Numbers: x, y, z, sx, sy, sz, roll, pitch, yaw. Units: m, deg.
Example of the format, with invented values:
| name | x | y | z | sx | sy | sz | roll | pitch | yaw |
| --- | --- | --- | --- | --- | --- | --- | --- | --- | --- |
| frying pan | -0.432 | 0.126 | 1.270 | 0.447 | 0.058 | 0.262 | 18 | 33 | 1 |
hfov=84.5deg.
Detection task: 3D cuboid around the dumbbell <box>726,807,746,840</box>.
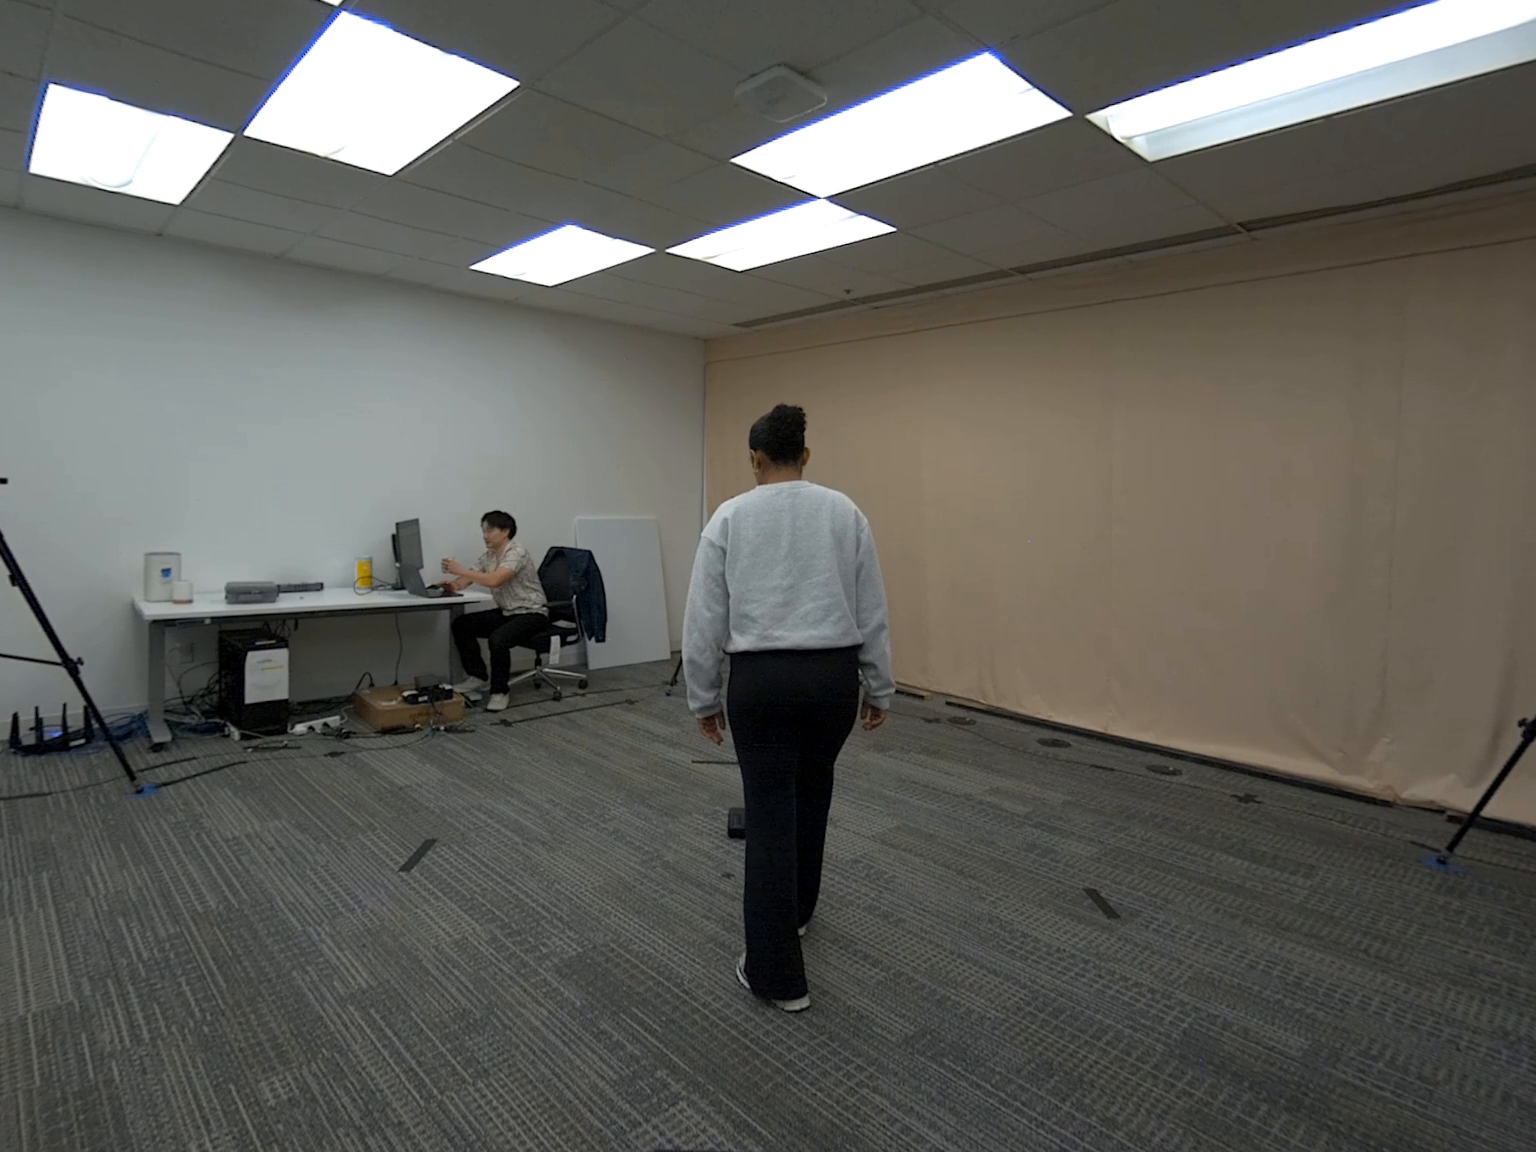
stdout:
| name | x | y | z | sx | sy | sz | roll | pitch | yaw |
| --- | --- | --- | --- | --- | --- | --- | --- | --- | --- |
| dumbbell | -0.026 | 1.026 | 3.472 | 0.294 | 0.120 | 0.111 | 1 | 34 | 2 |
